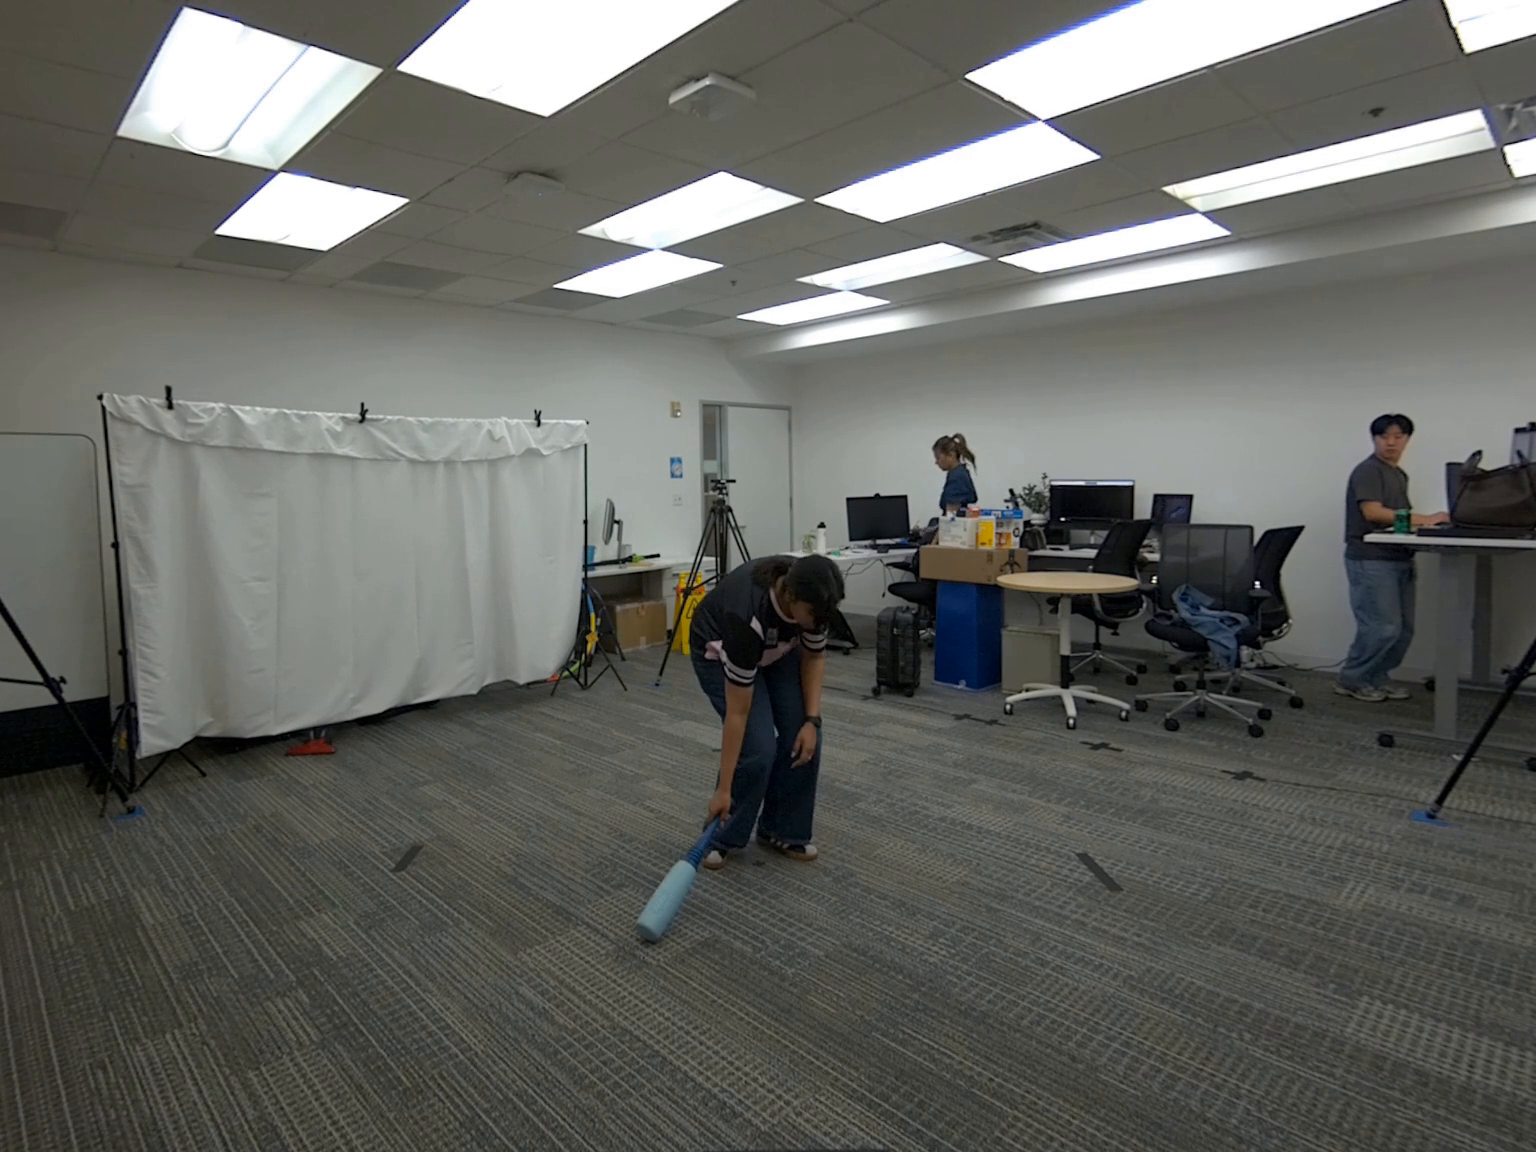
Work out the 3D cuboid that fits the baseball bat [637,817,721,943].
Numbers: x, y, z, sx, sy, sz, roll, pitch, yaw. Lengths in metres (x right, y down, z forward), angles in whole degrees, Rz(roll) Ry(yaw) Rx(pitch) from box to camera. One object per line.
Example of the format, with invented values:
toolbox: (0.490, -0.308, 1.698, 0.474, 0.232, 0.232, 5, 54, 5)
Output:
baseball bat: (-0.246, 0.935, 2.767, 0.091, 0.086, 0.544, 1, 35, 32)
